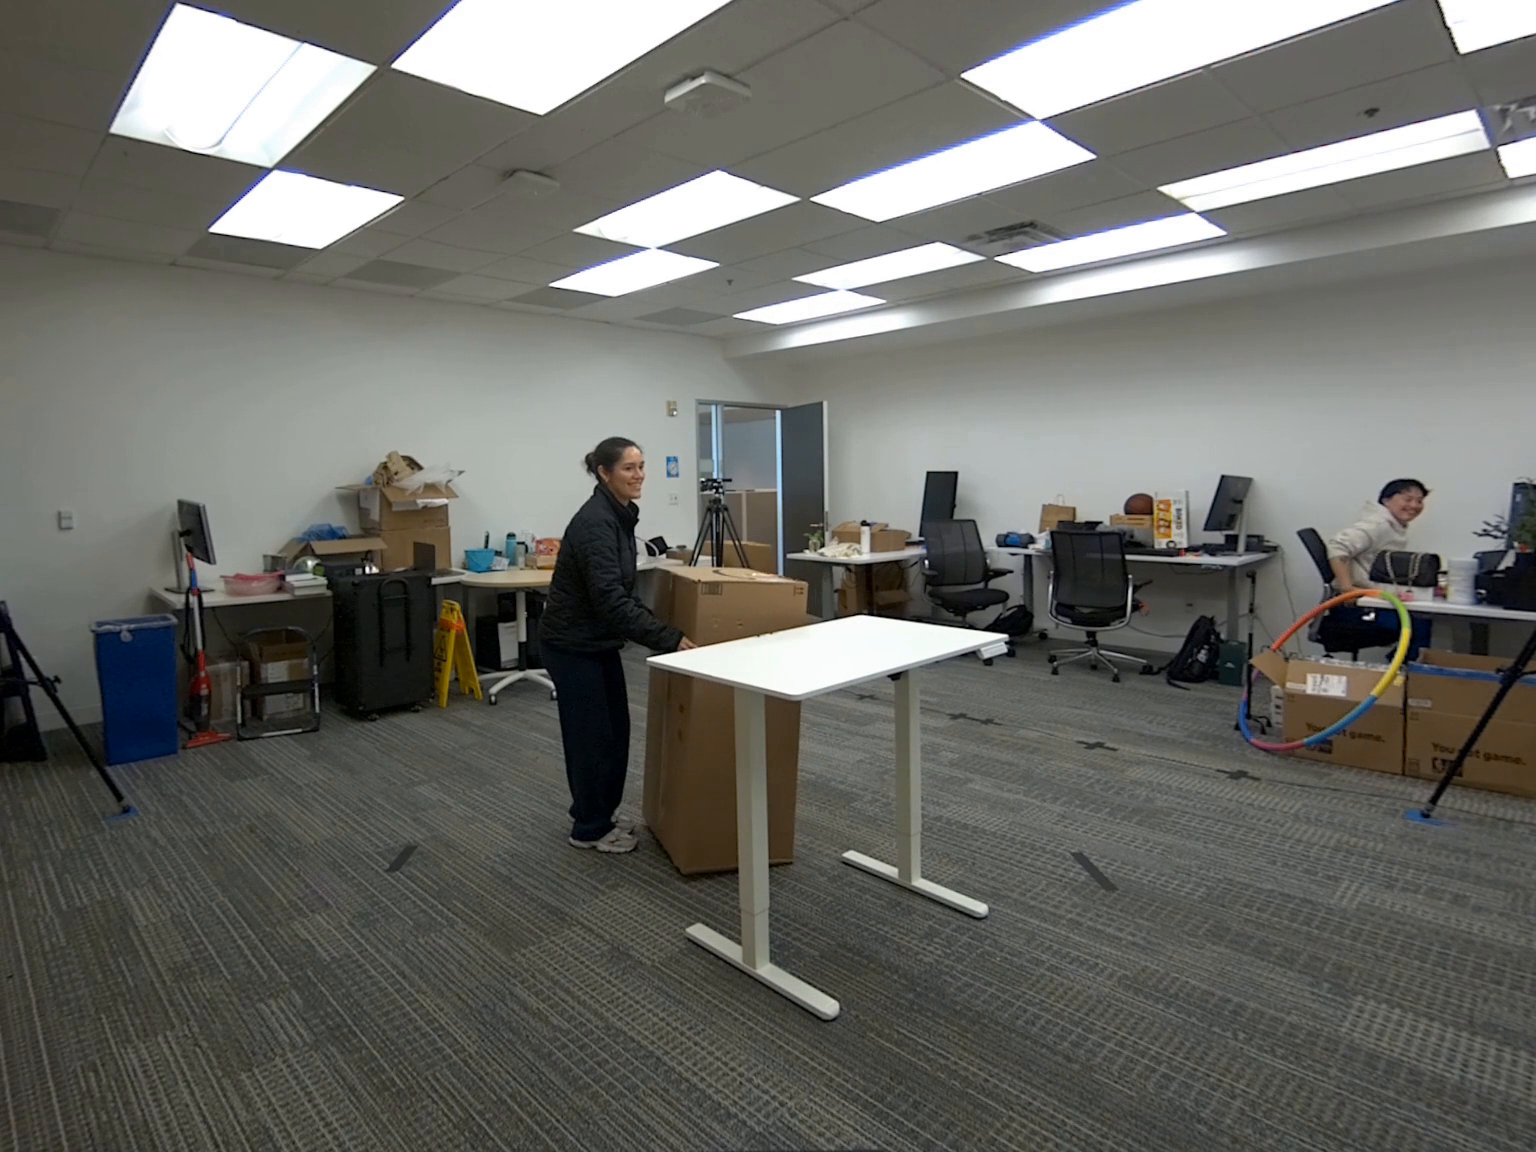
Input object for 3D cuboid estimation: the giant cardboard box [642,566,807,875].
[{"bbox_3d":[-0.181,0.505,3.285,0.417,1.024,0.591,3,2,-23],"label":"giant cardboard box"}]
